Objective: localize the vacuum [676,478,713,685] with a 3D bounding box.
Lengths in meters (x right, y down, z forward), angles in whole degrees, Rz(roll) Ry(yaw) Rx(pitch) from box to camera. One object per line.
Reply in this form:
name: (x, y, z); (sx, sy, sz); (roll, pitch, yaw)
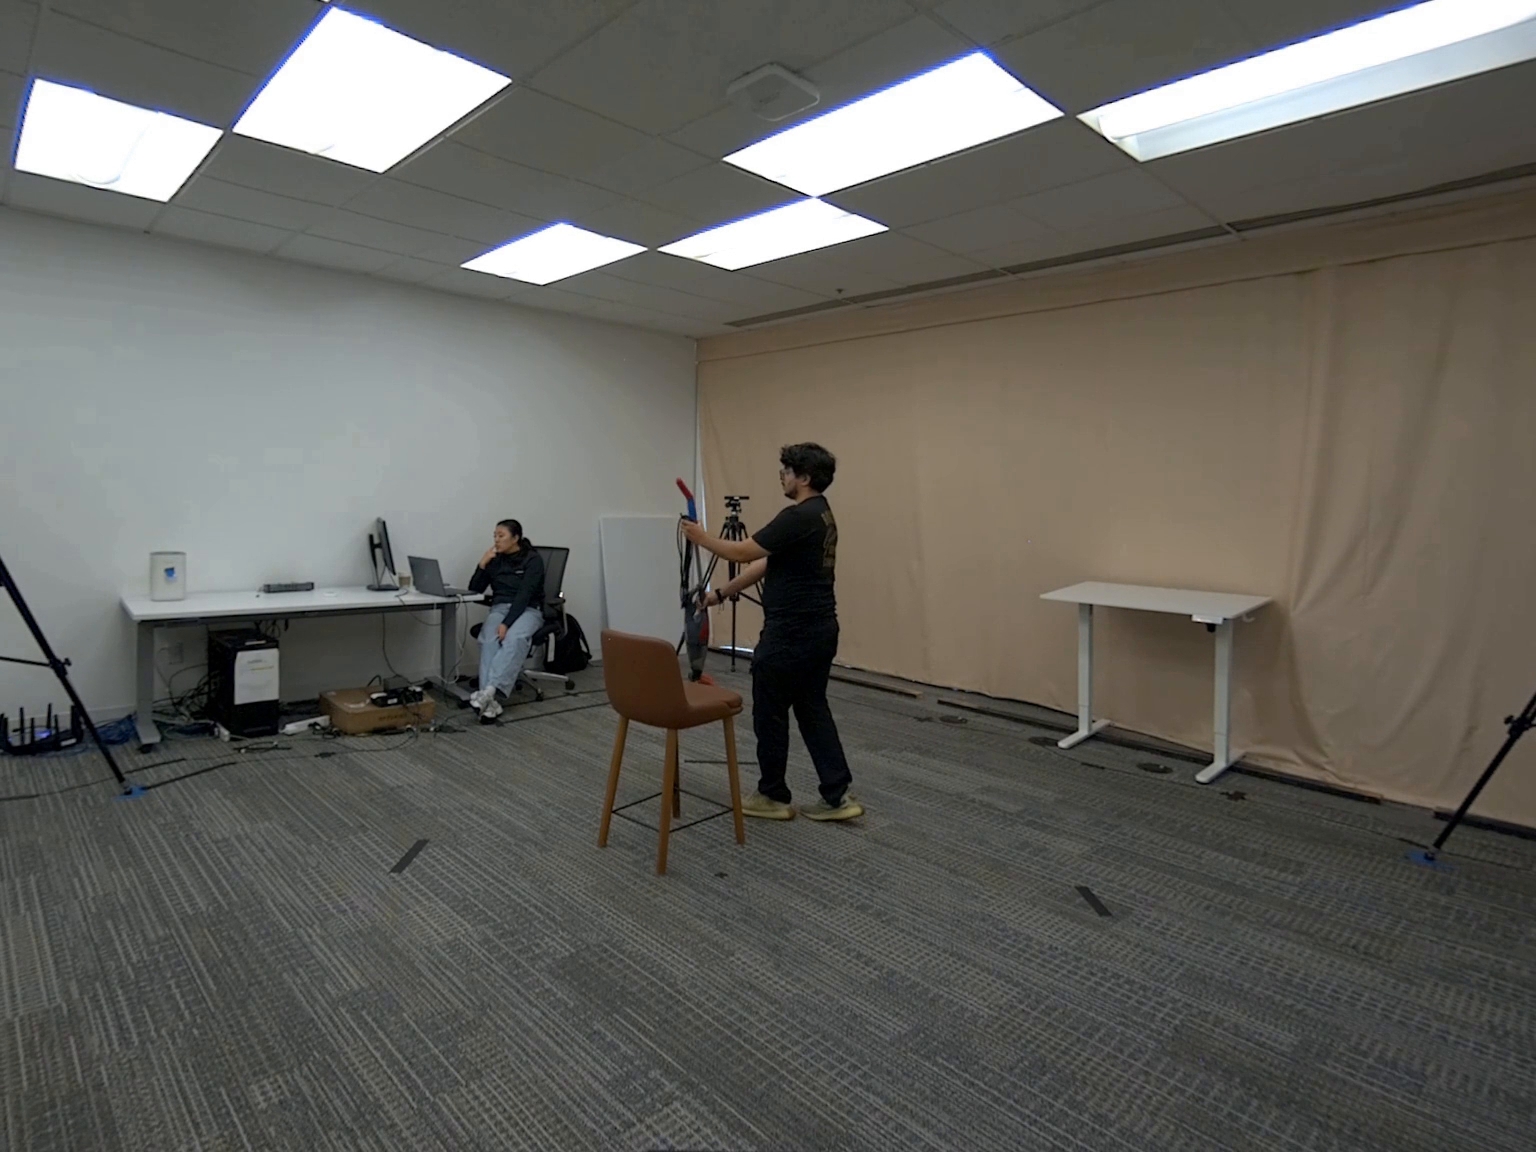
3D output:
vacuum: (-0.358, 0.056, 3.870); (0.143, 1.031, 0.258); (-9, 23, -8)
